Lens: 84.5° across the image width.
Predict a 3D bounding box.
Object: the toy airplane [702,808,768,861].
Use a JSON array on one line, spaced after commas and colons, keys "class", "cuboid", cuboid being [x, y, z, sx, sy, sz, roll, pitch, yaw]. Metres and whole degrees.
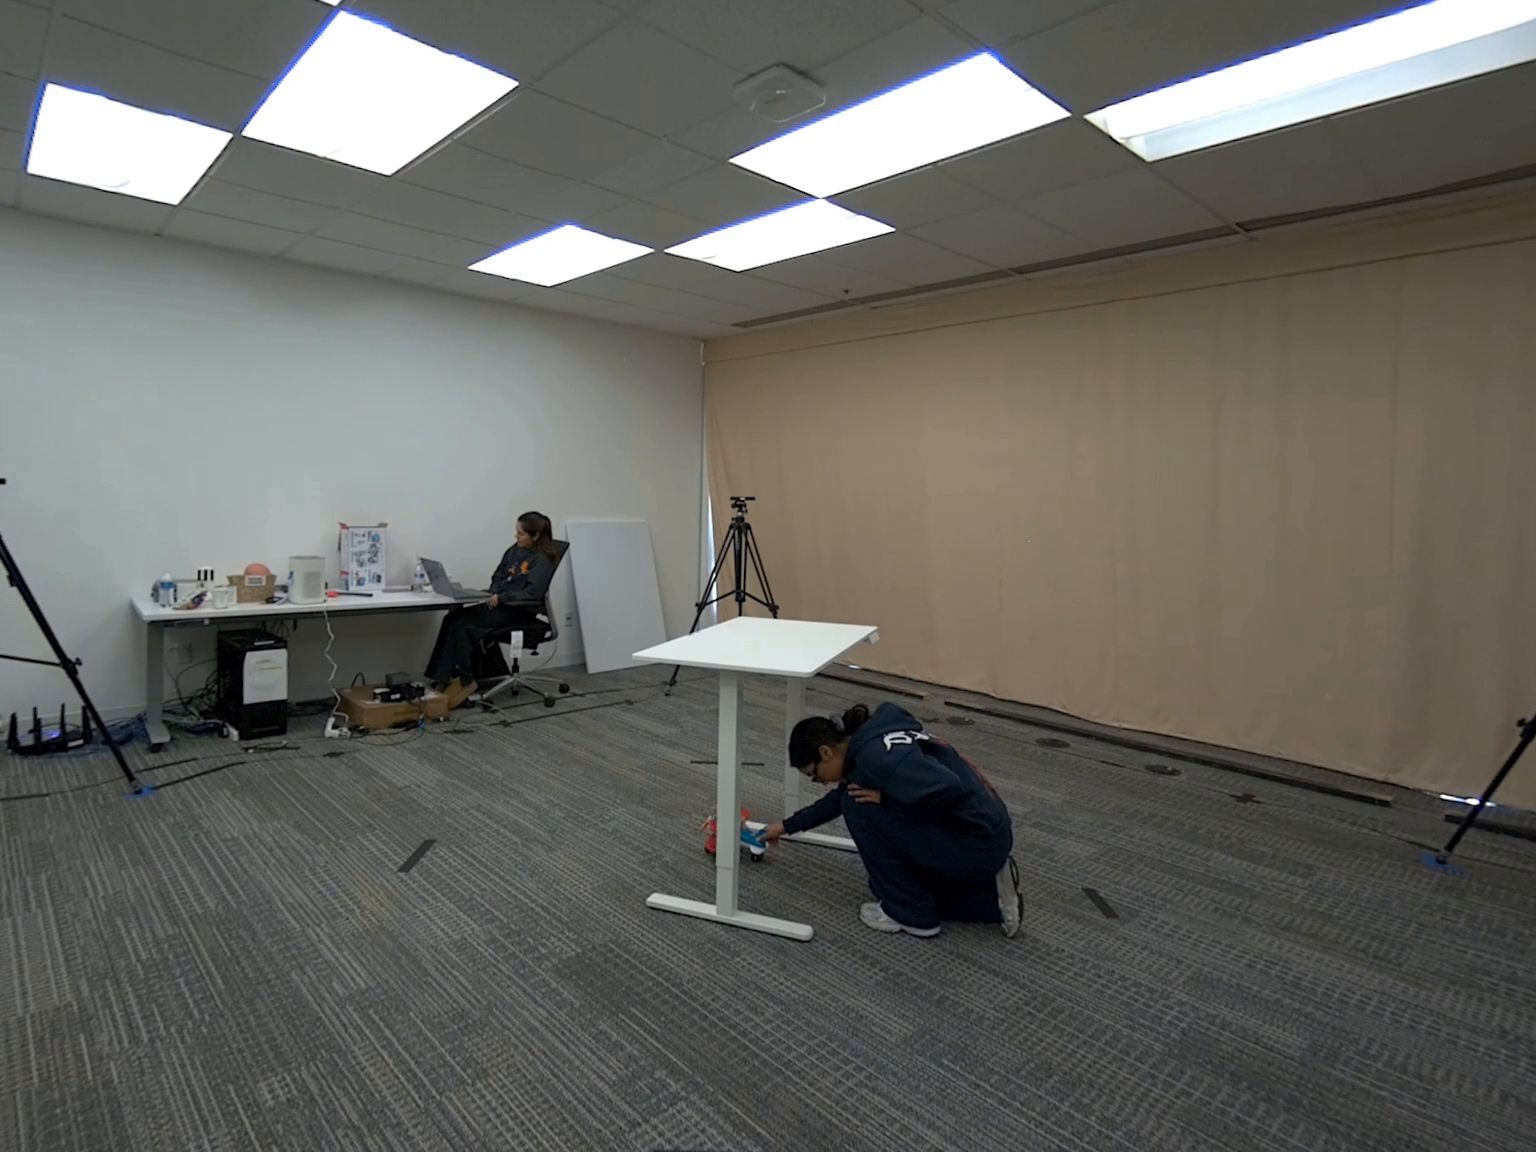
[{"class": "toy airplane", "cuboid": [-0.124, 1.017, 3.308, 0.258, 0.156, 0.253, 0, 6, -5]}]
